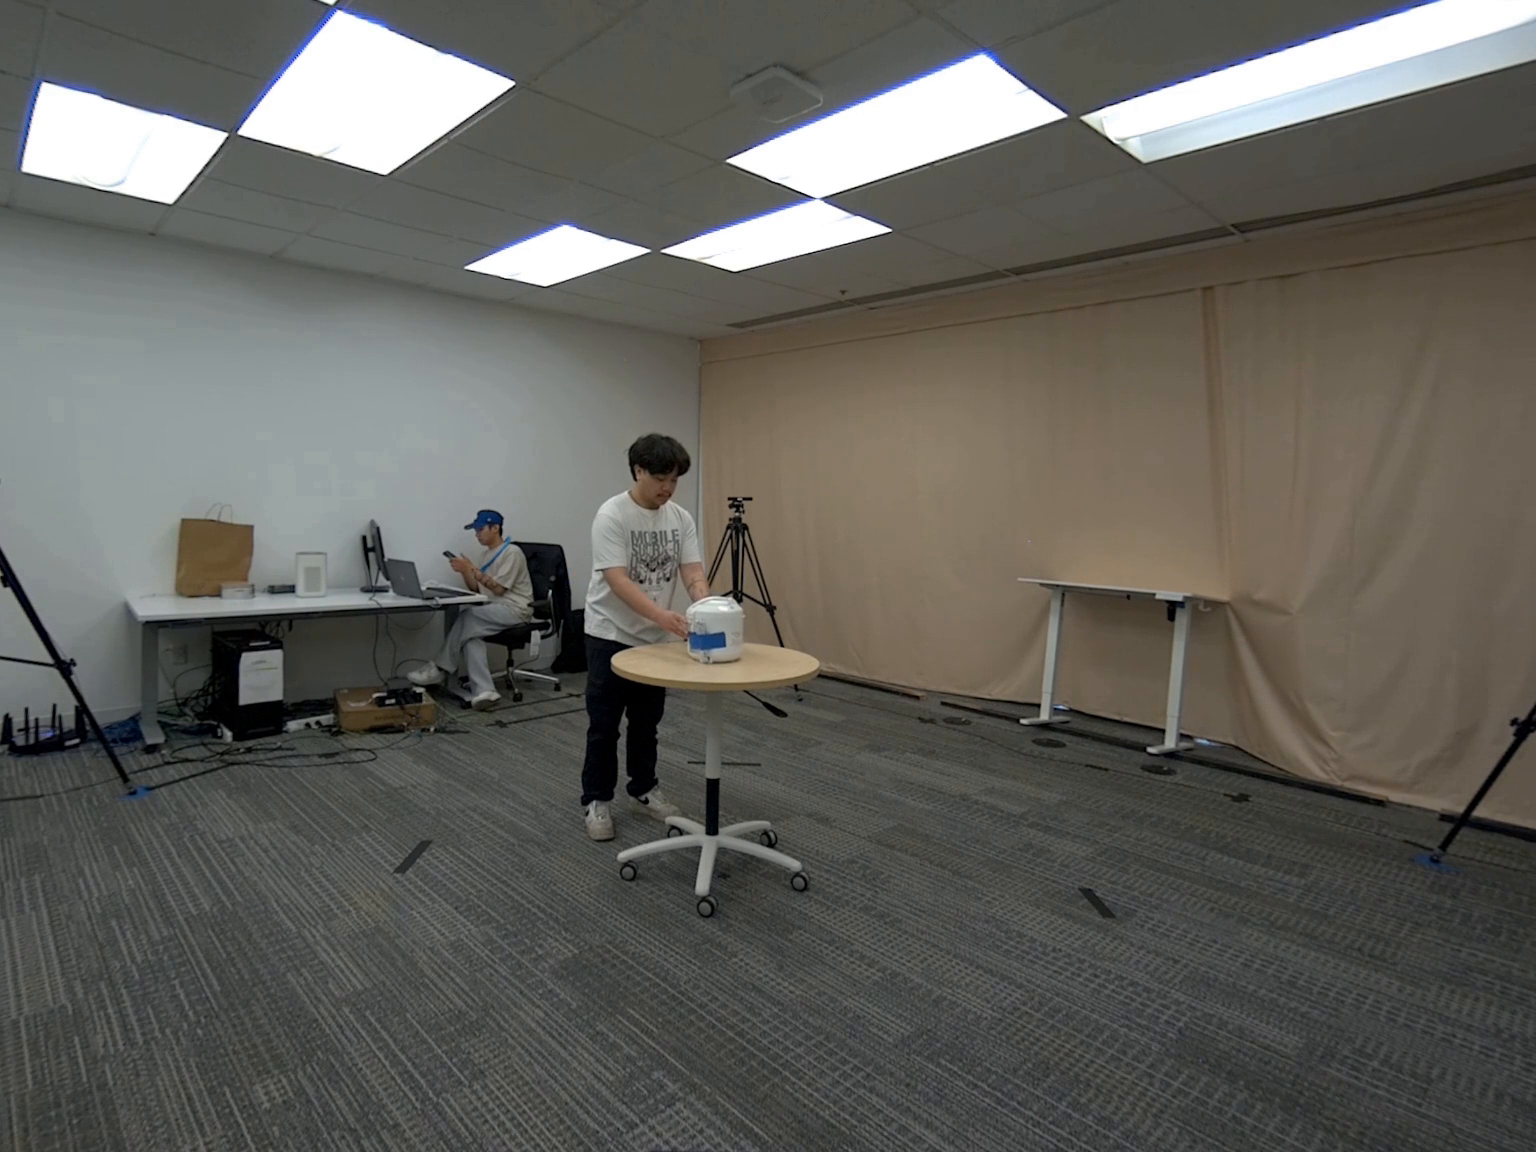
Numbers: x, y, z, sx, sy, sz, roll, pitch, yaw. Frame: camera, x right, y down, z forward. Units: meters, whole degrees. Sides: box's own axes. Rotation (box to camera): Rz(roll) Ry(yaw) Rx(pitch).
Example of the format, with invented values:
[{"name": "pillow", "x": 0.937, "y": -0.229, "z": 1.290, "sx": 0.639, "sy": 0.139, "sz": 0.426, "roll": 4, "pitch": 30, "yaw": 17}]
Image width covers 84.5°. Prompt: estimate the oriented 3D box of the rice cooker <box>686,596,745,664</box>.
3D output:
[{"name": "rice cooker", "x": -0.202, "y": 0.192, "z": 3.118, "sx": 0.216, "sy": 0.232, "sz": 0.222, "roll": 1, "pitch": 5, "yaw": -25}]
